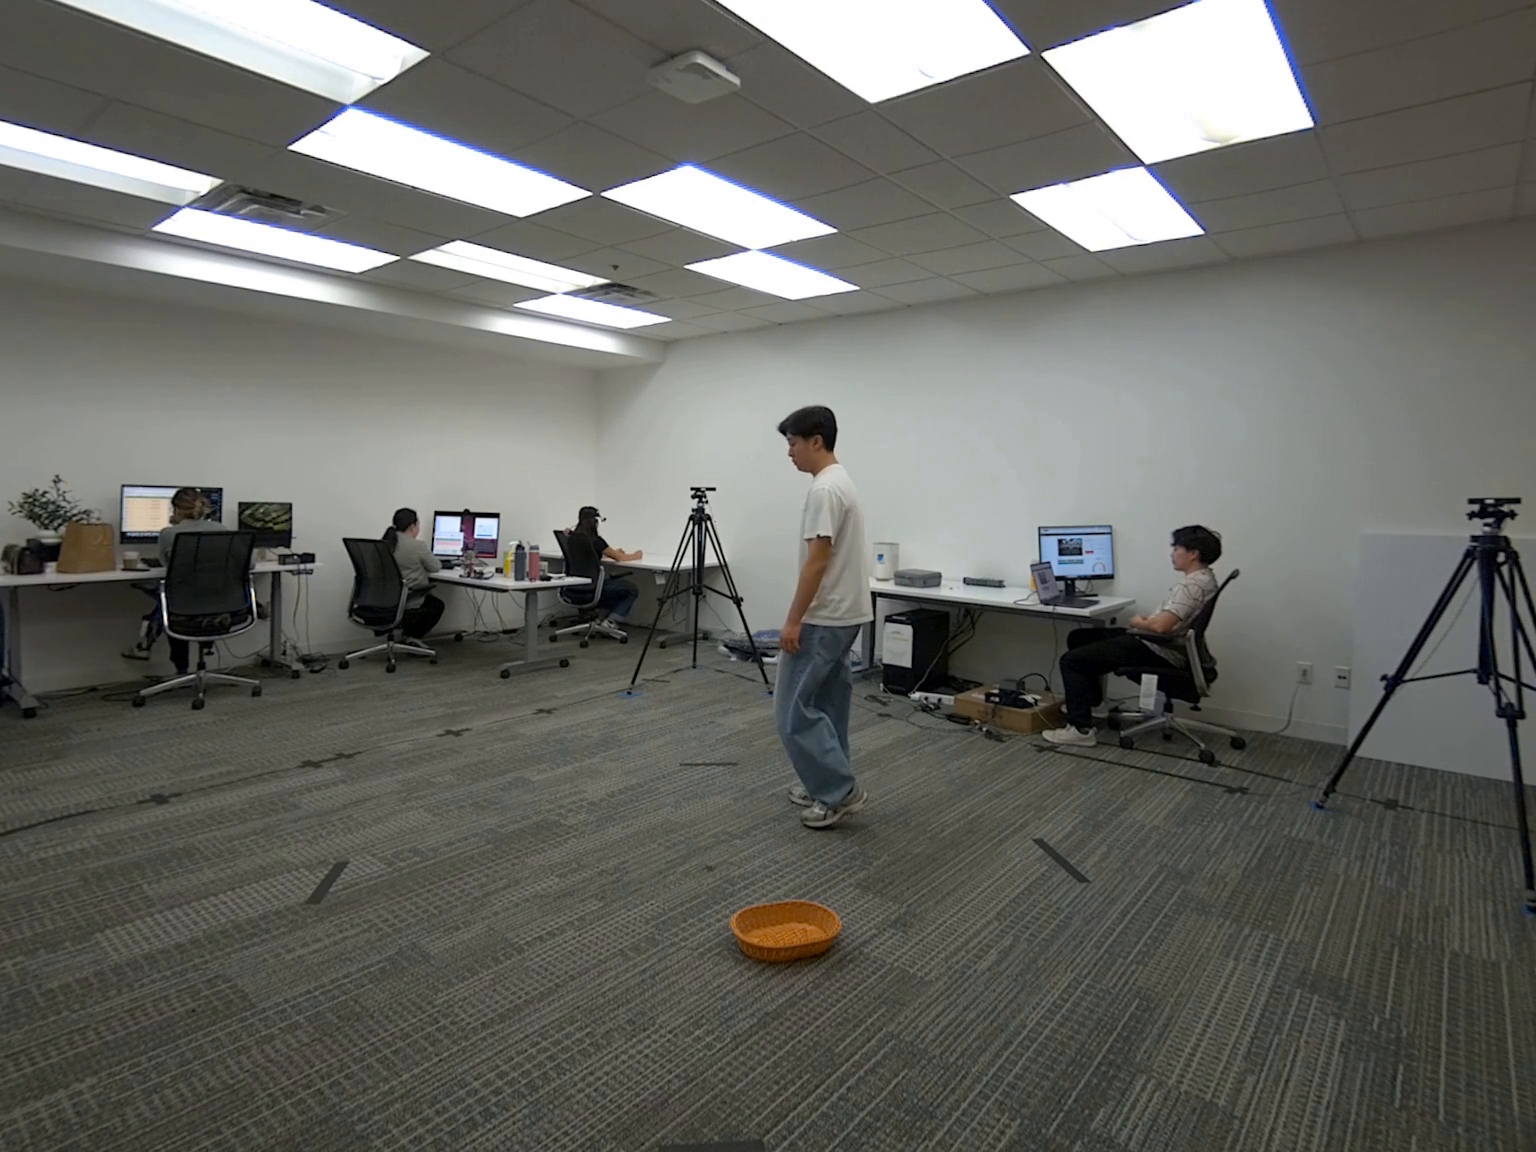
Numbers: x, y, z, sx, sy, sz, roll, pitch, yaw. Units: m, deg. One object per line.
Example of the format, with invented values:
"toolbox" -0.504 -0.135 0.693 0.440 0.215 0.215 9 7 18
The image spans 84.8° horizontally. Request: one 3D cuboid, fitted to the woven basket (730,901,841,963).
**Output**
"woven basket" 0.046 1.082 2.595 0.344 0.073 0.258 0 5 -19
